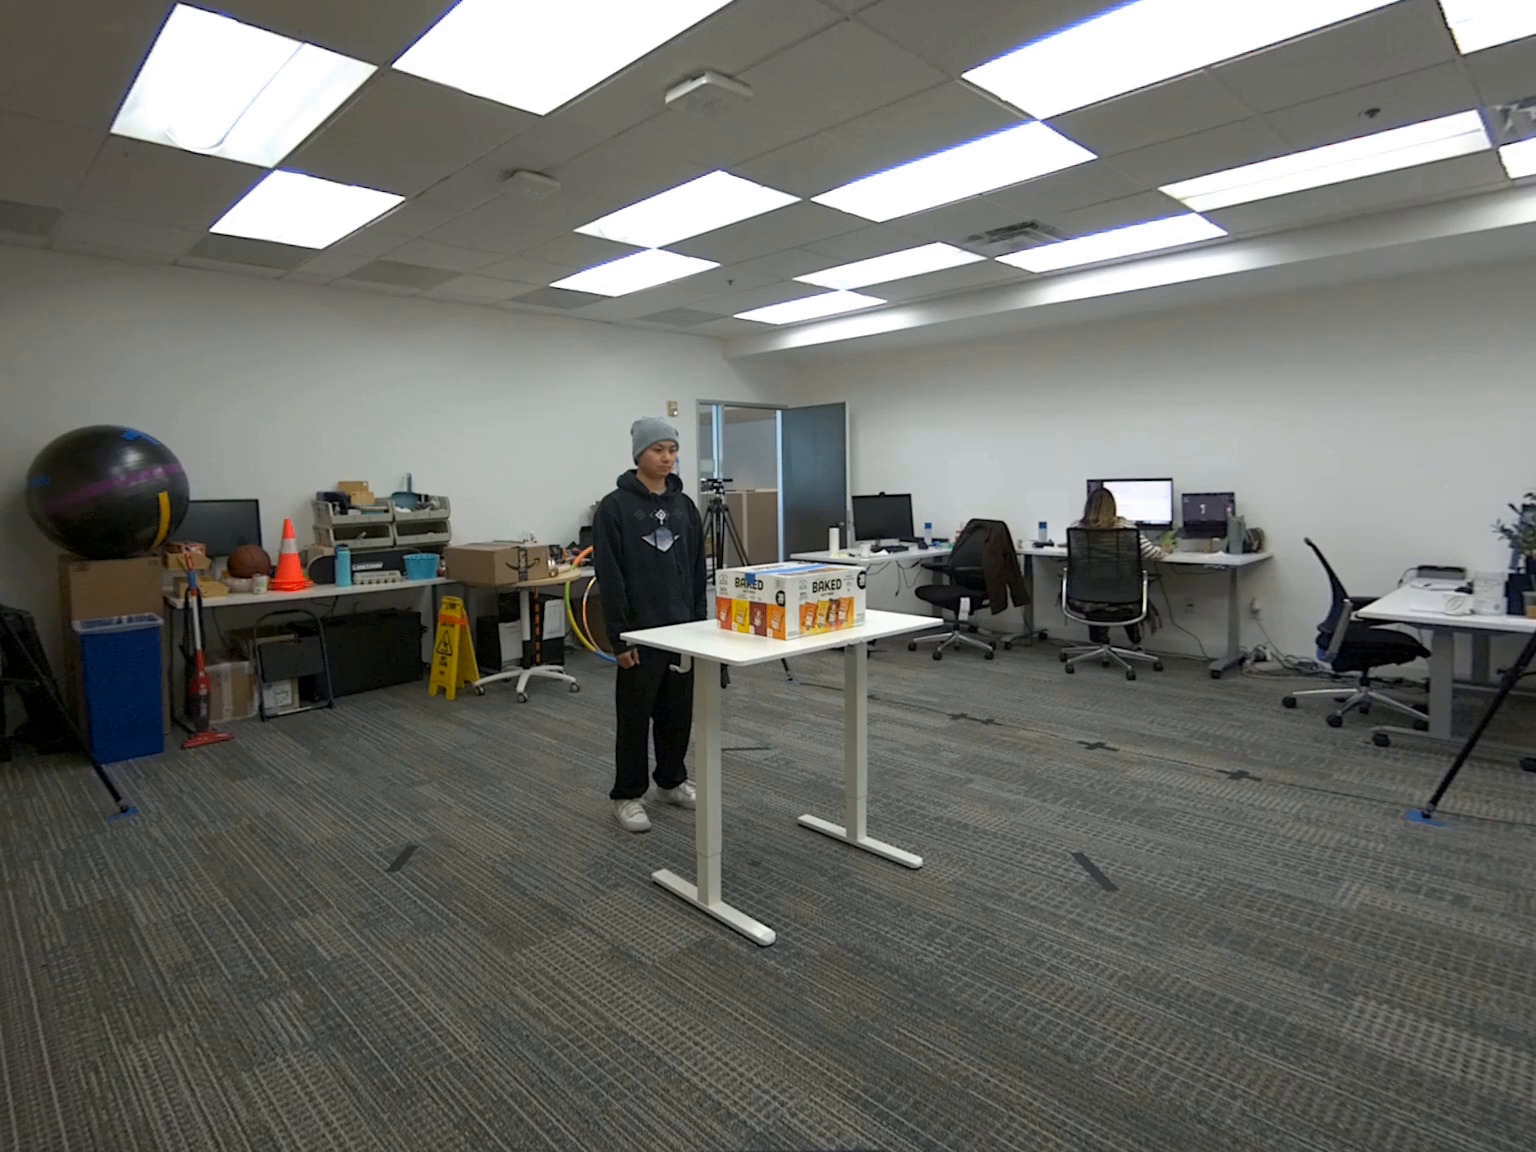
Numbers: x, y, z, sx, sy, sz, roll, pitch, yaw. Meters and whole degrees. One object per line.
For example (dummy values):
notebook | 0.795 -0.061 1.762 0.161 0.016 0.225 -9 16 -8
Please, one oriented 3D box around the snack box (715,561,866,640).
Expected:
snack box | 0.081 0.076 2.966 0.394 0.205 0.351 -6 8 -44
